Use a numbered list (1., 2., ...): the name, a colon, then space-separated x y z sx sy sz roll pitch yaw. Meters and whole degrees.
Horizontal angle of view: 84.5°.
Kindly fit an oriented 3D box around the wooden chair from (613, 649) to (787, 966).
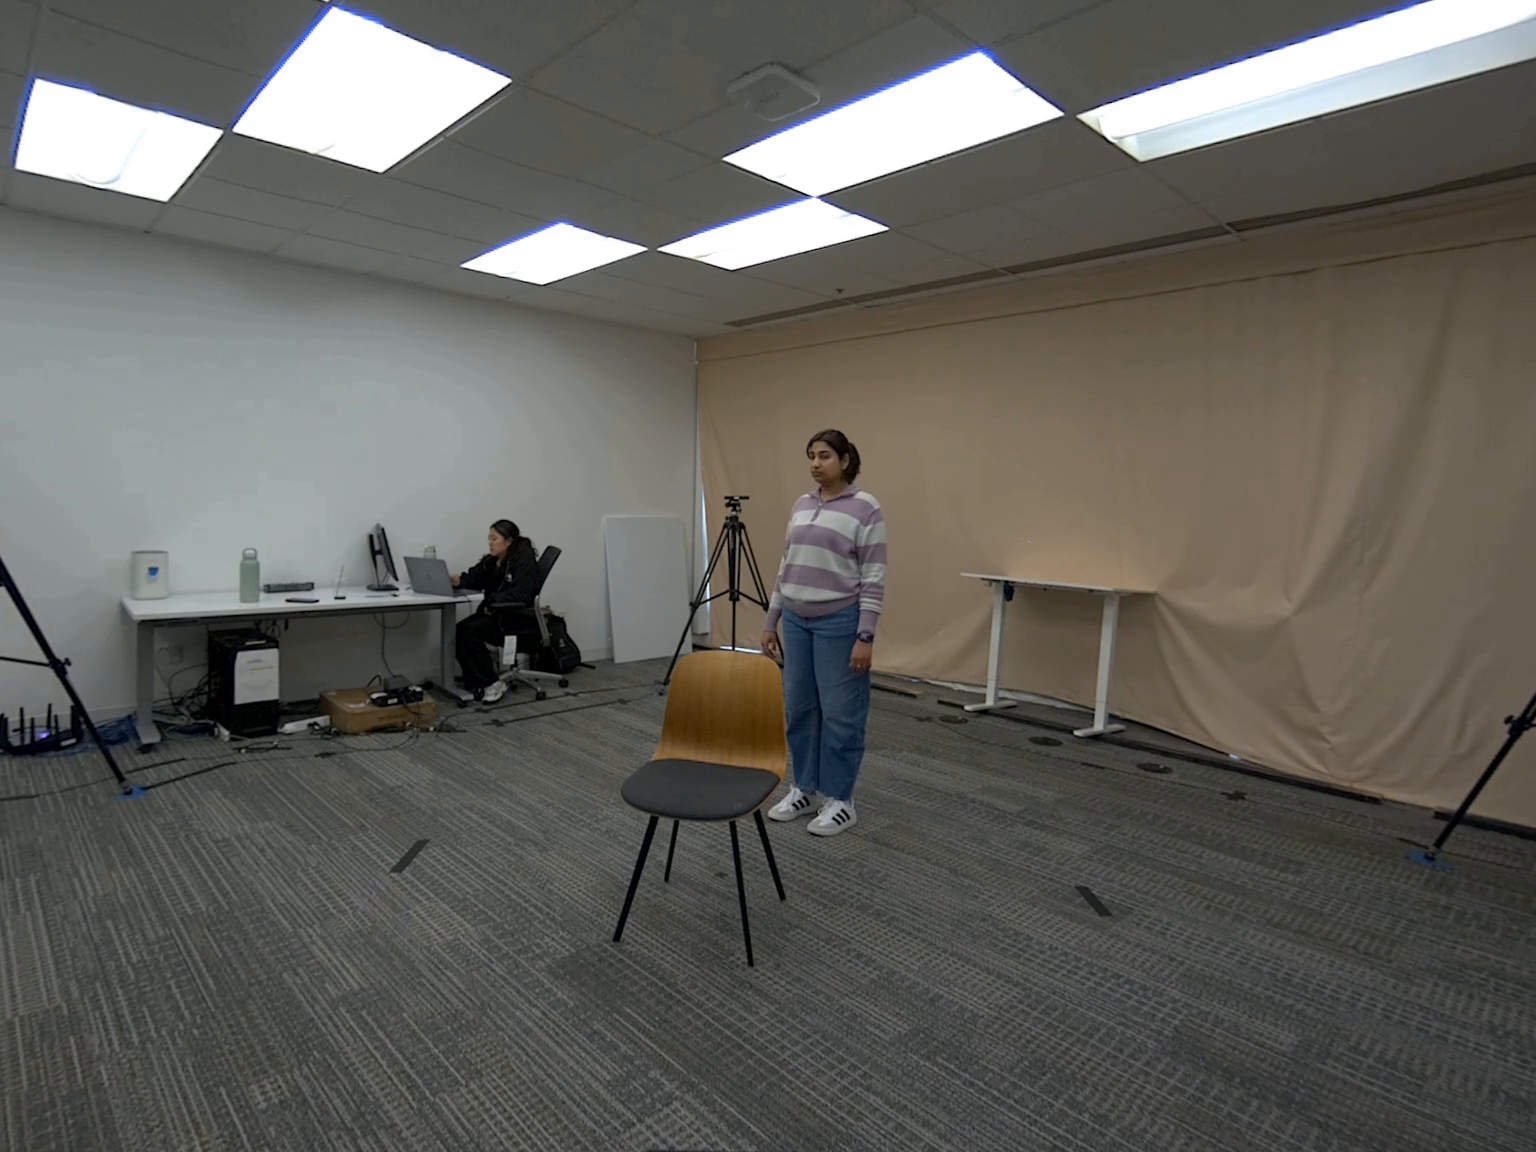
1. wooden chair: -0.207 0.710 2.732 0.484 0.877 0.516 2 0 16
